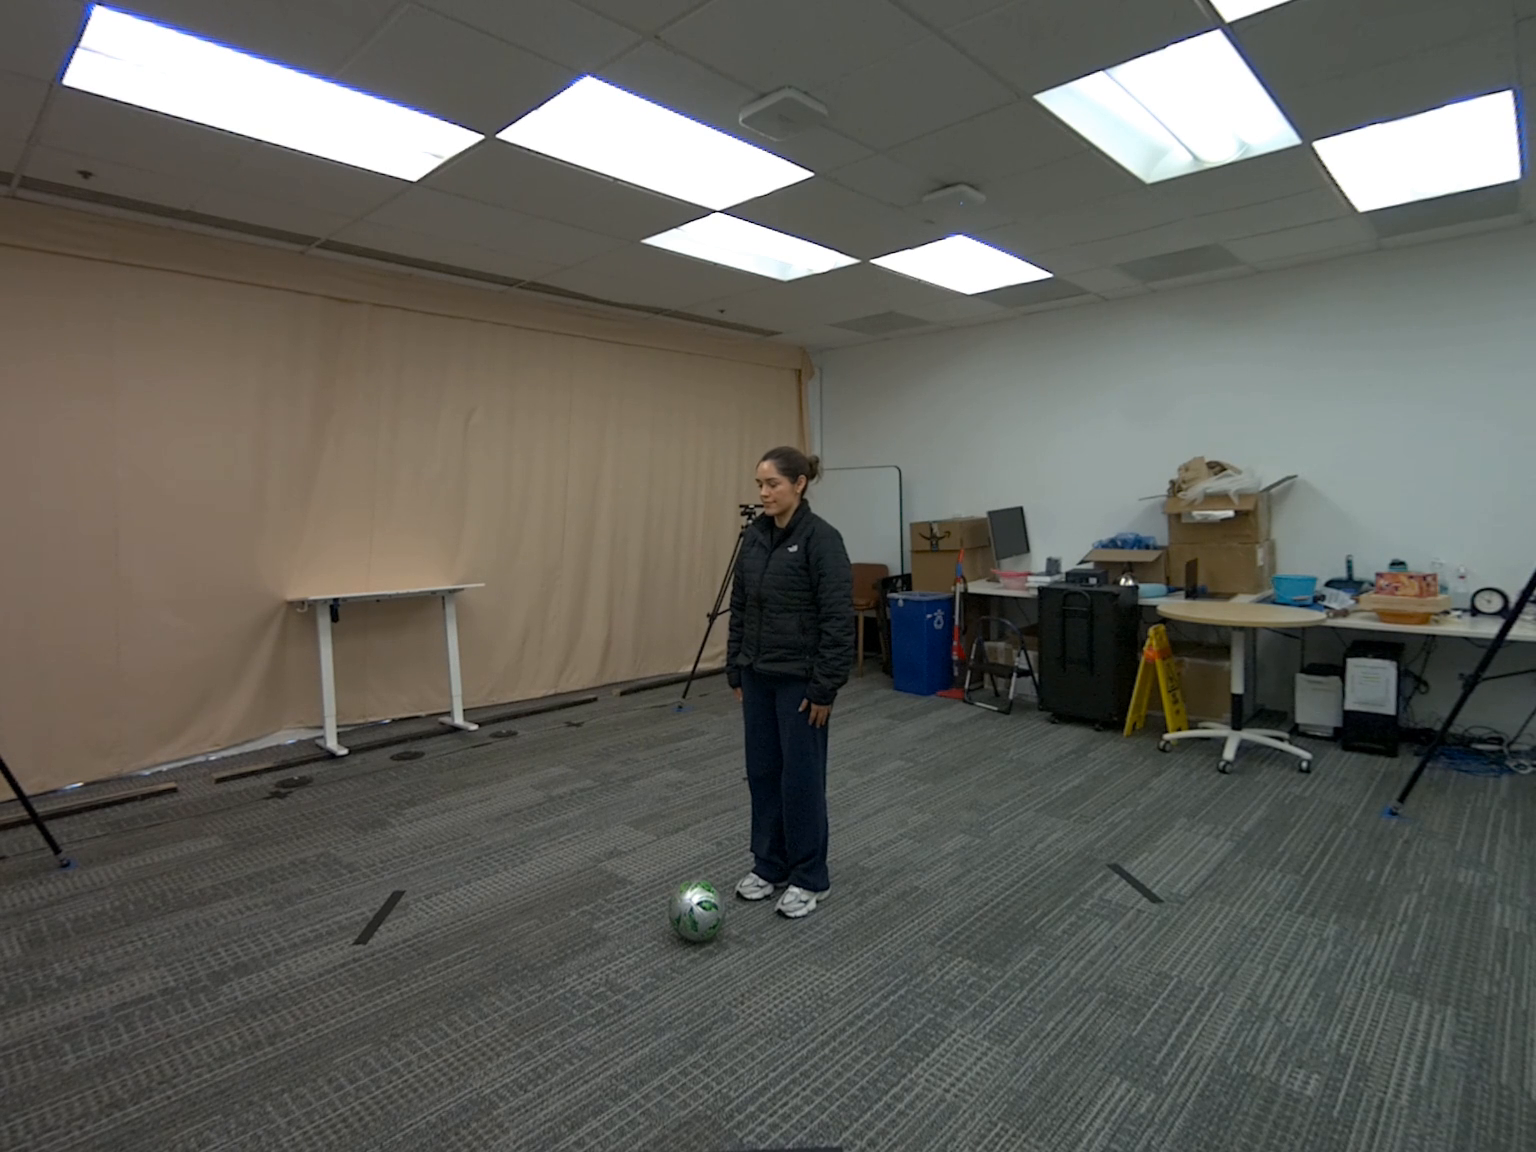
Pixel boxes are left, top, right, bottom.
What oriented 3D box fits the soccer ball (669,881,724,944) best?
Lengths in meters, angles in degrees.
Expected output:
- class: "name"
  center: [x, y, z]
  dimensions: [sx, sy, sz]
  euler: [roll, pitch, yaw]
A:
- class: "soccer ball"
  center: [-0.224, 1.075, 2.703]
  dimensions: [0.187, 0.187, 0.188]
  euler: [-1, 4, -2]
